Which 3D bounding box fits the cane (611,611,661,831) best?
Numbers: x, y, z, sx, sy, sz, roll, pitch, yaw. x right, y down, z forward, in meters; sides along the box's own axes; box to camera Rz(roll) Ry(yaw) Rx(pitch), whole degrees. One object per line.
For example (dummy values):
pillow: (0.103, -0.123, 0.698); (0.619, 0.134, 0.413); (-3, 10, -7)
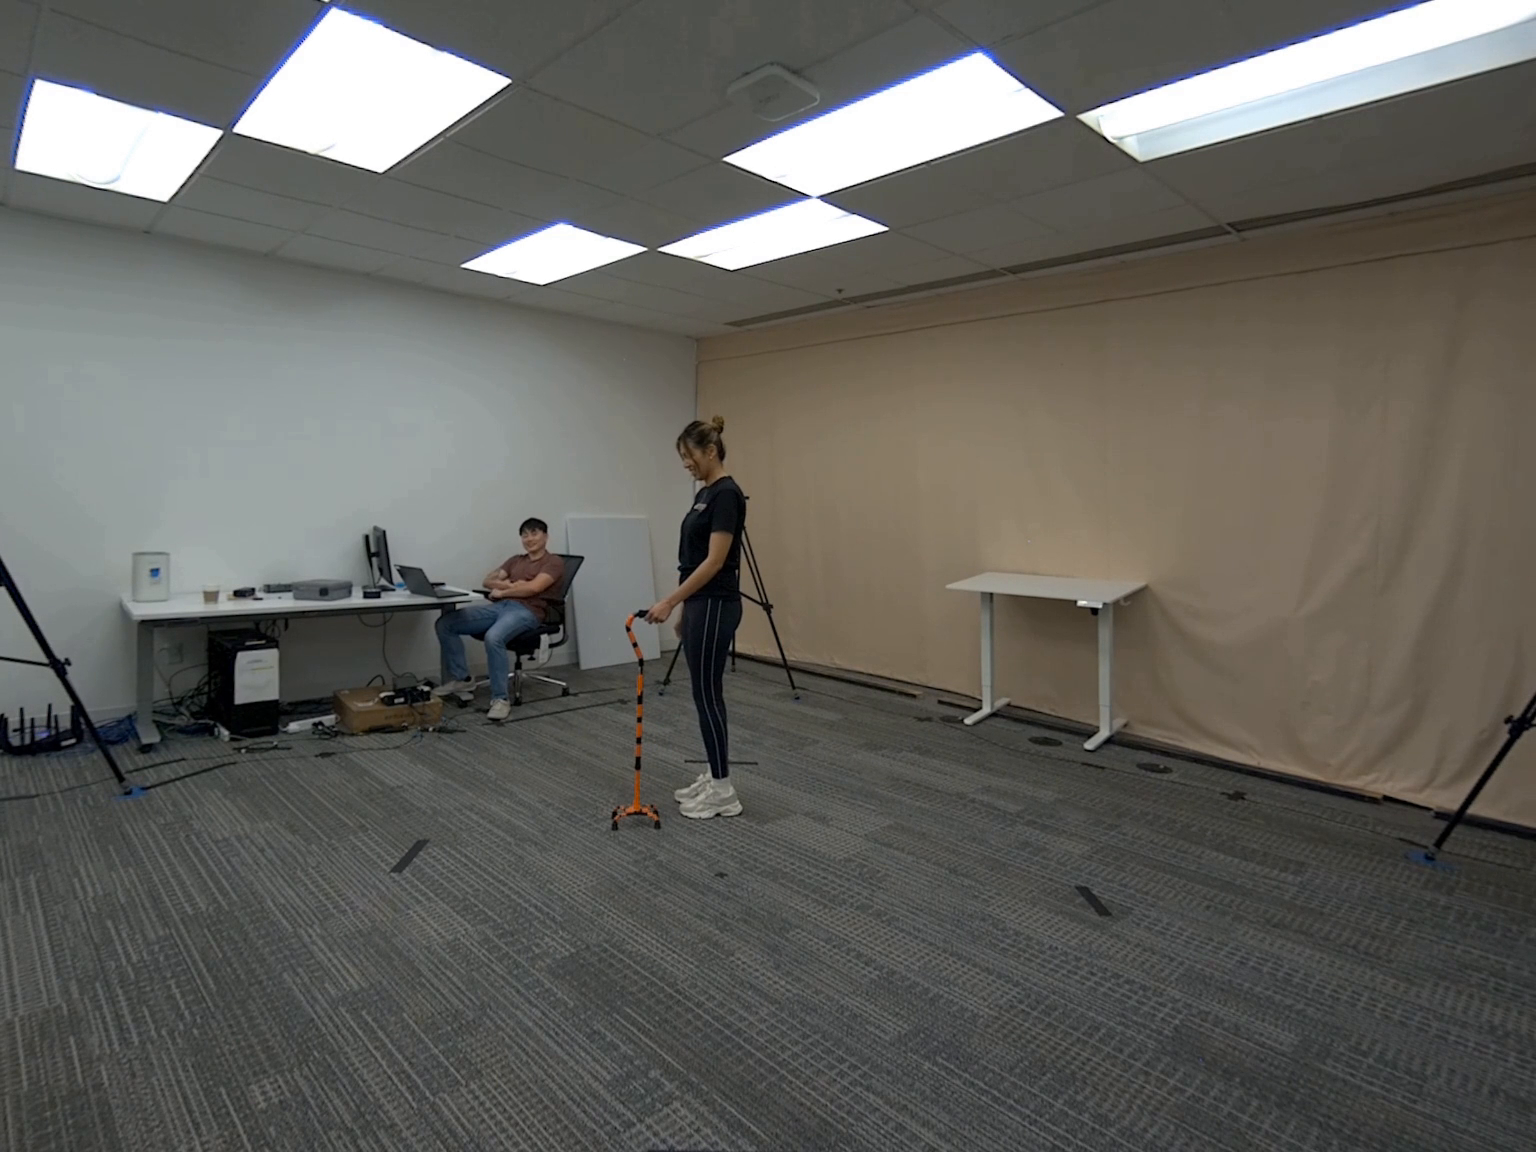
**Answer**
cane: (-0.557, 0.597, 3.559); (0.204, 0.906, 0.153); (2, 3, -12)
